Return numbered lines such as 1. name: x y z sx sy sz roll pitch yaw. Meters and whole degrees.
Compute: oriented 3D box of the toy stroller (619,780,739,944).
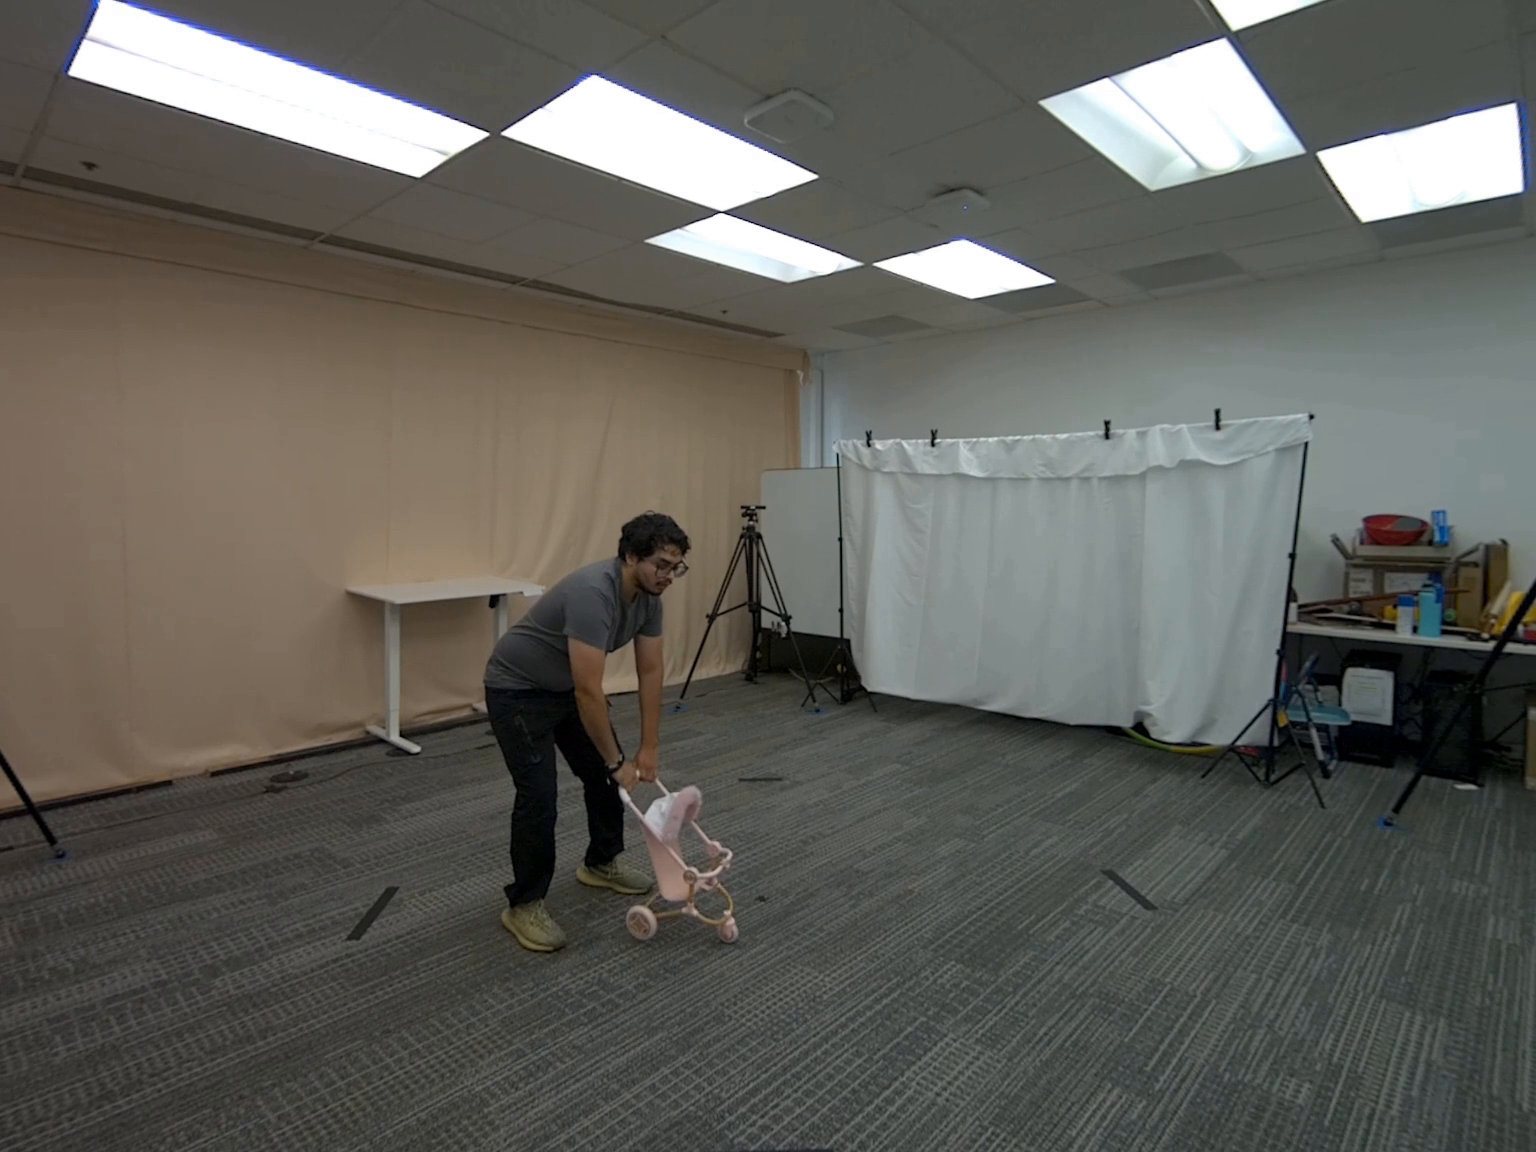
1. toy stroller: -0.272 0.920 2.711 0.350 0.534 0.275 -4 4 26
